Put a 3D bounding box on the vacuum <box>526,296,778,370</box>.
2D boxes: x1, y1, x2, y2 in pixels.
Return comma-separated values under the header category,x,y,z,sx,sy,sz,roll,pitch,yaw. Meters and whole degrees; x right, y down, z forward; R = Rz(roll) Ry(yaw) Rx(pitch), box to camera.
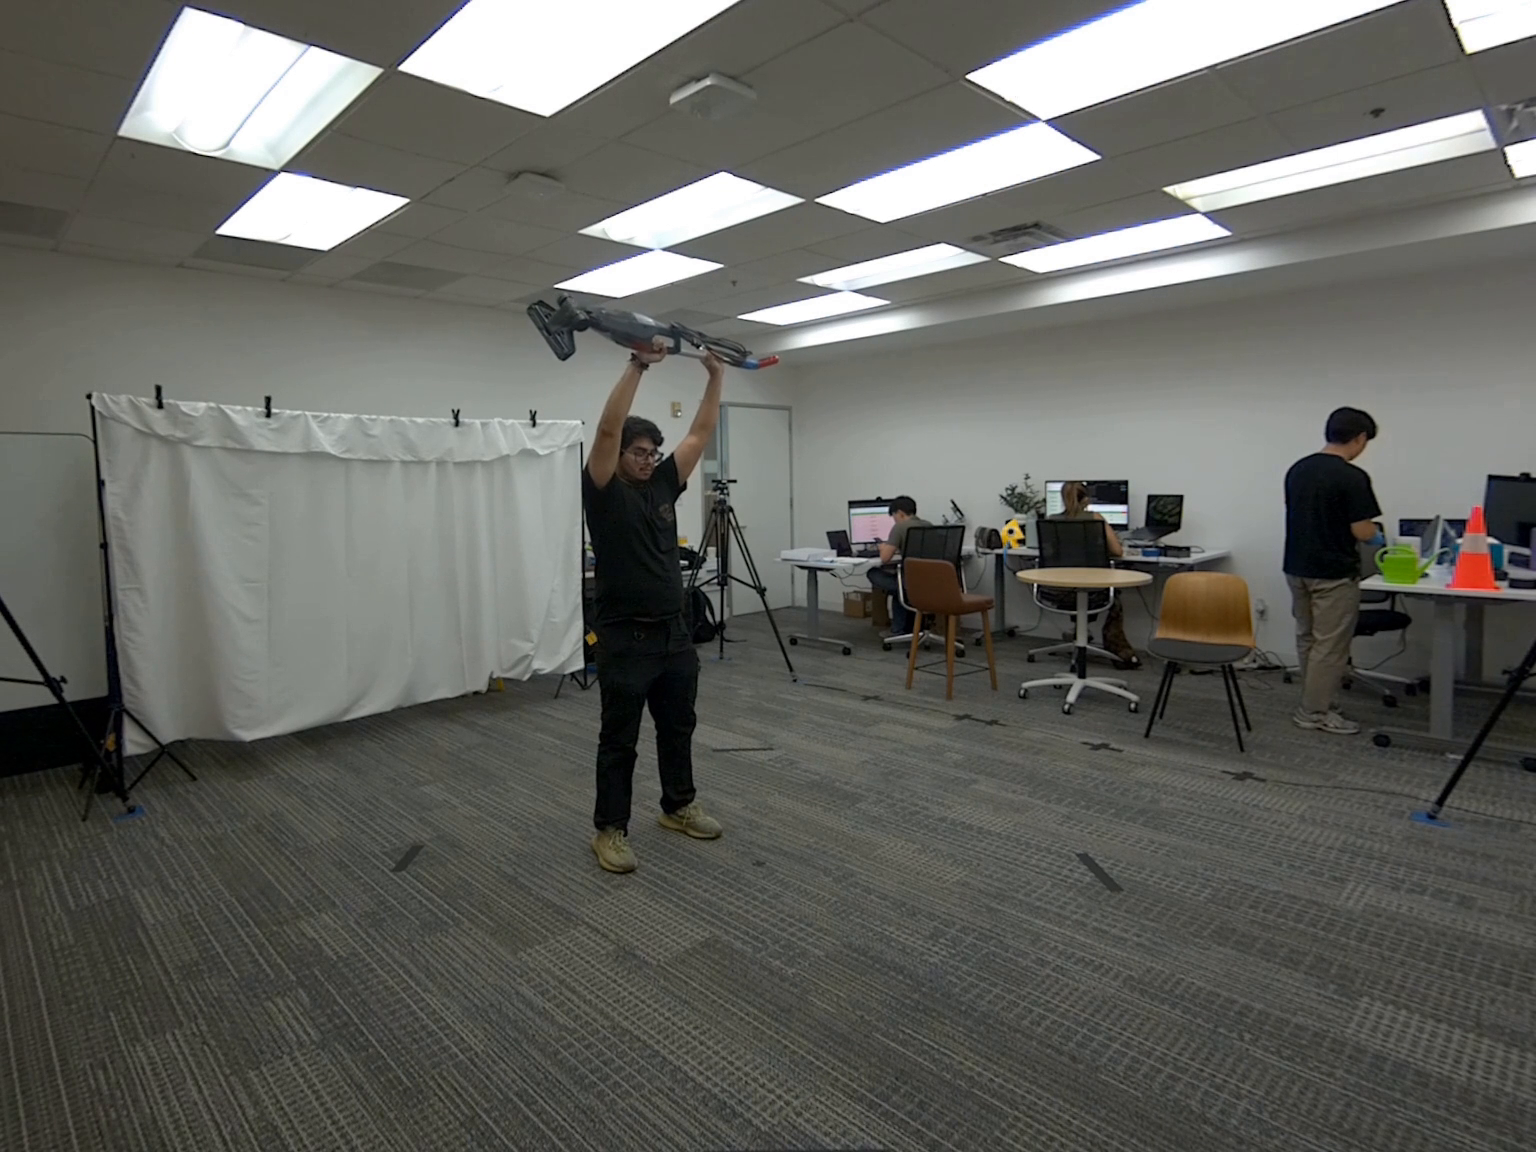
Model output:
category,x,y,z,sx,sy,sz,roll,pitch,yaw
vacuum,-0.305,-0.829,2.997,1.022,0.143,0.261,-8,45,-48
